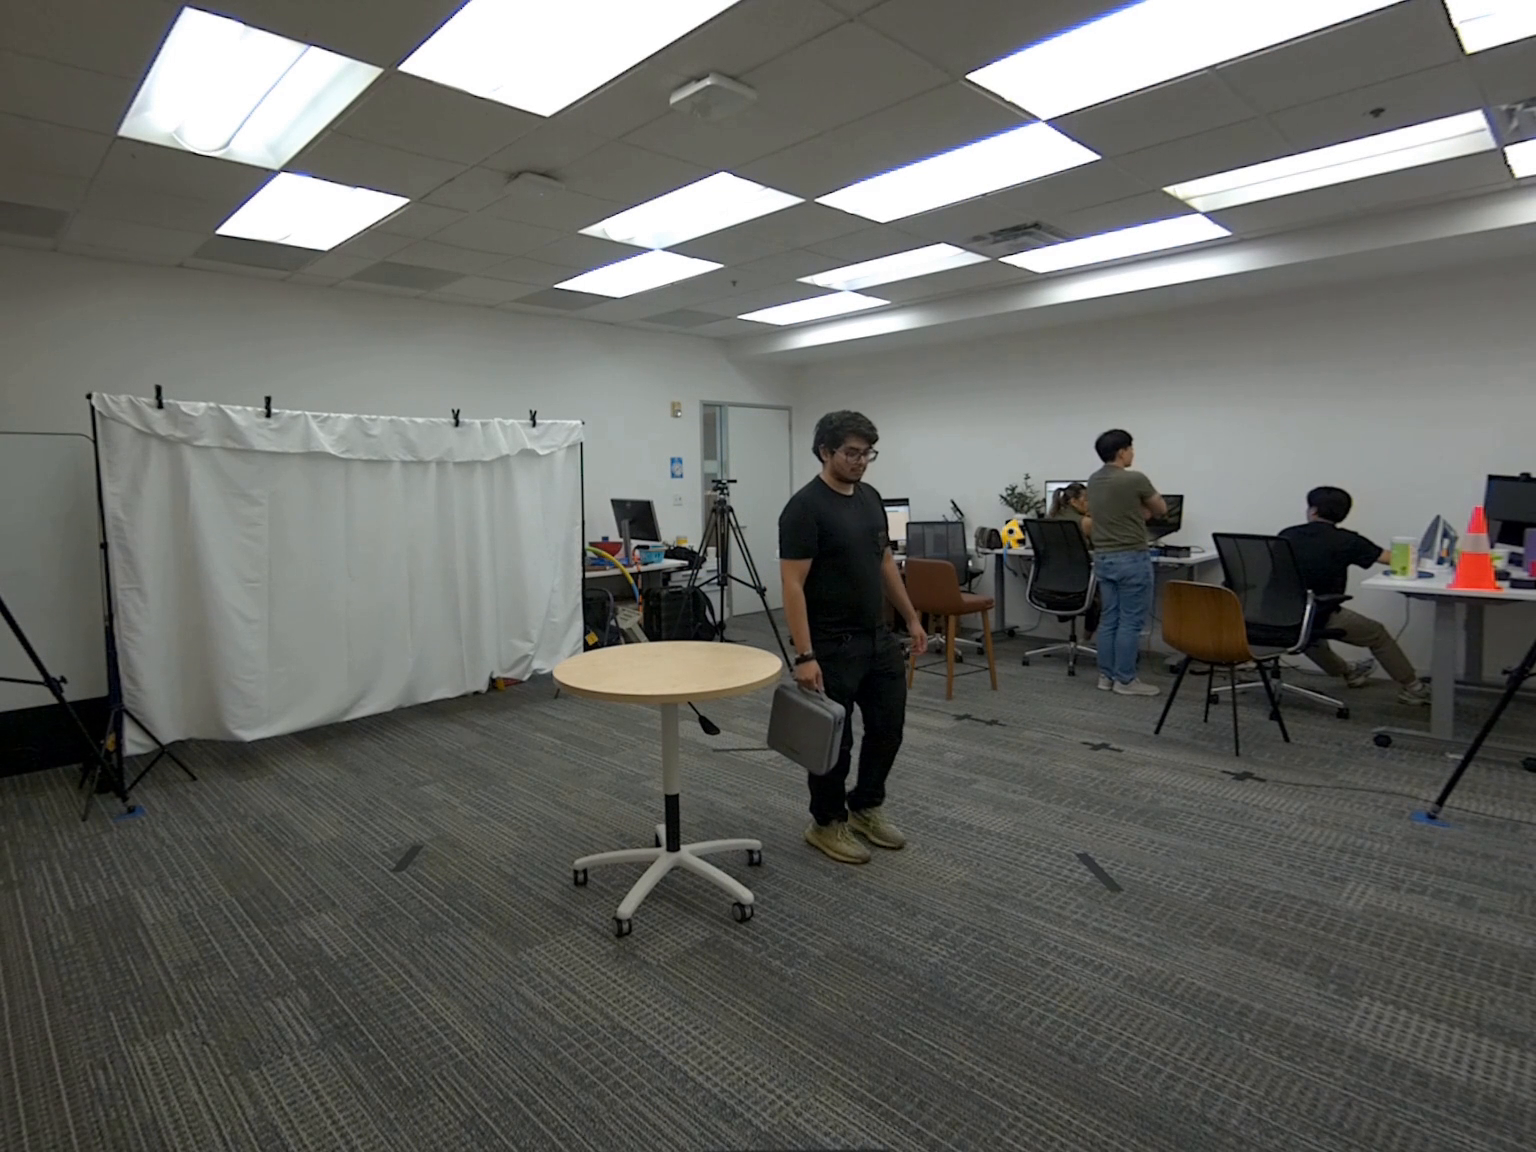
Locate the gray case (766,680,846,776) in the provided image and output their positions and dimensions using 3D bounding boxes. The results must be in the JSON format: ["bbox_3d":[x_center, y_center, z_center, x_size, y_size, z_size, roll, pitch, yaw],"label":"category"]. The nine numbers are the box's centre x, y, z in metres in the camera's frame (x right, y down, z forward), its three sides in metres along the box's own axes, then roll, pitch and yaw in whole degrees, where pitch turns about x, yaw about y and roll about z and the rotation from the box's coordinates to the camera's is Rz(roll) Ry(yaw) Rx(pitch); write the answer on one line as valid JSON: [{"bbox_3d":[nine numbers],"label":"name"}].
[{"bbox_3d":[0.136,0.516,2.959,0.266,0.256,0.102,22,26,36],"label":"gray case"}]
